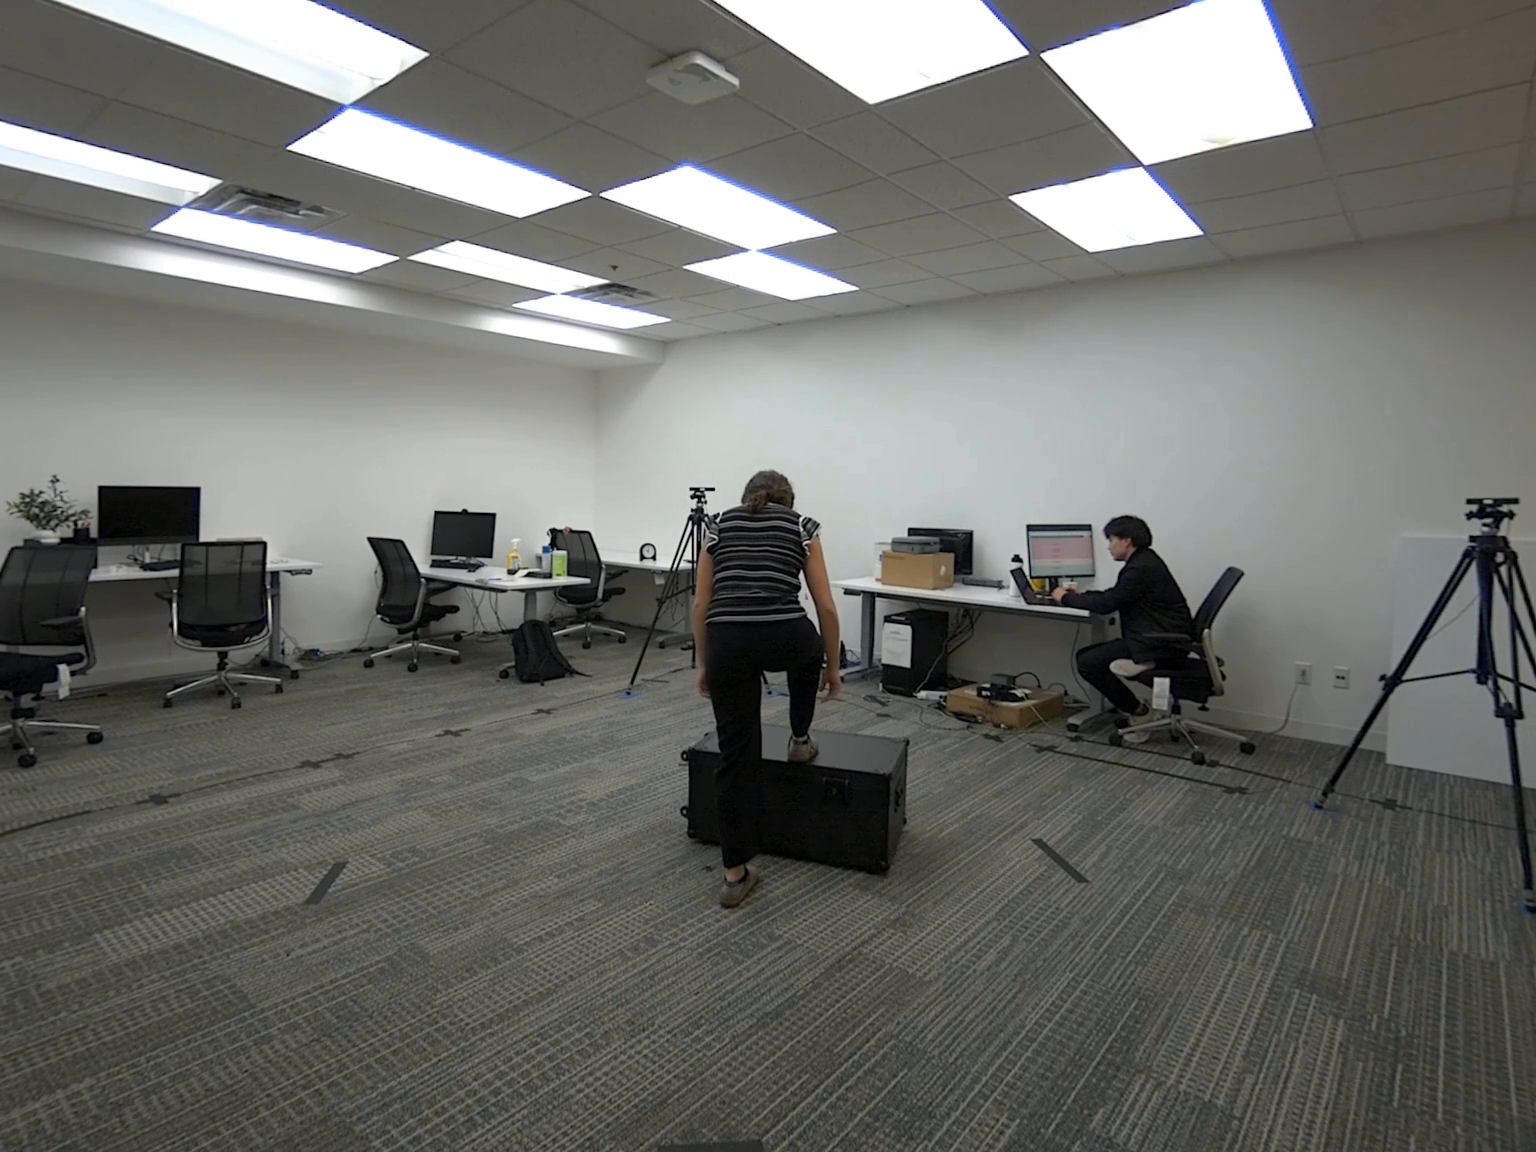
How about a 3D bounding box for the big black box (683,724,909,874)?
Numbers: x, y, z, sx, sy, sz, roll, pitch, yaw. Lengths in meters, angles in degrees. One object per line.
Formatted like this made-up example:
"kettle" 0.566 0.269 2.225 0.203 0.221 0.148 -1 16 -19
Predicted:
"big black box" 0.089 0.852 3.426 0.880 0.394 0.513 3 6 19
